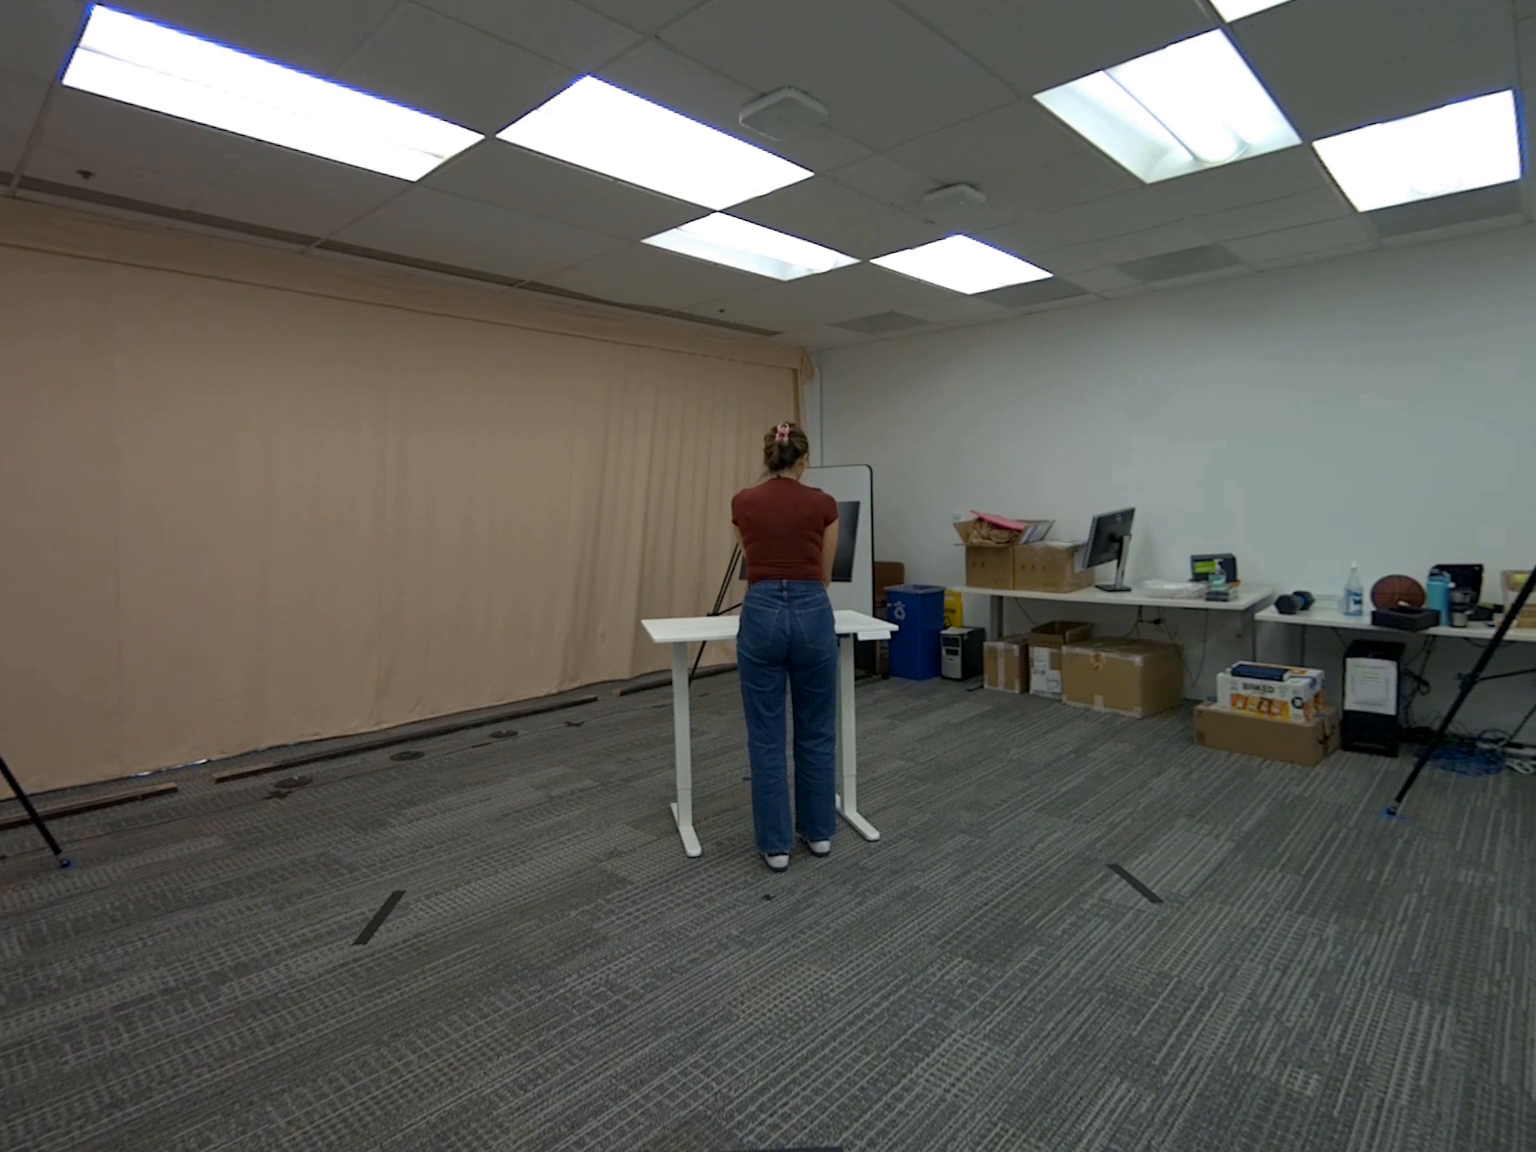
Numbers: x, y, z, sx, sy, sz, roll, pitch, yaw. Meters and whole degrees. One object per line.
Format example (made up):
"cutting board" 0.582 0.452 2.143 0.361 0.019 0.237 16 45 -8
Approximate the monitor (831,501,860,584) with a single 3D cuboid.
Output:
"monitor" 0.159 -0.060 3.668 0.554 0.522 0.182 1 0 30
